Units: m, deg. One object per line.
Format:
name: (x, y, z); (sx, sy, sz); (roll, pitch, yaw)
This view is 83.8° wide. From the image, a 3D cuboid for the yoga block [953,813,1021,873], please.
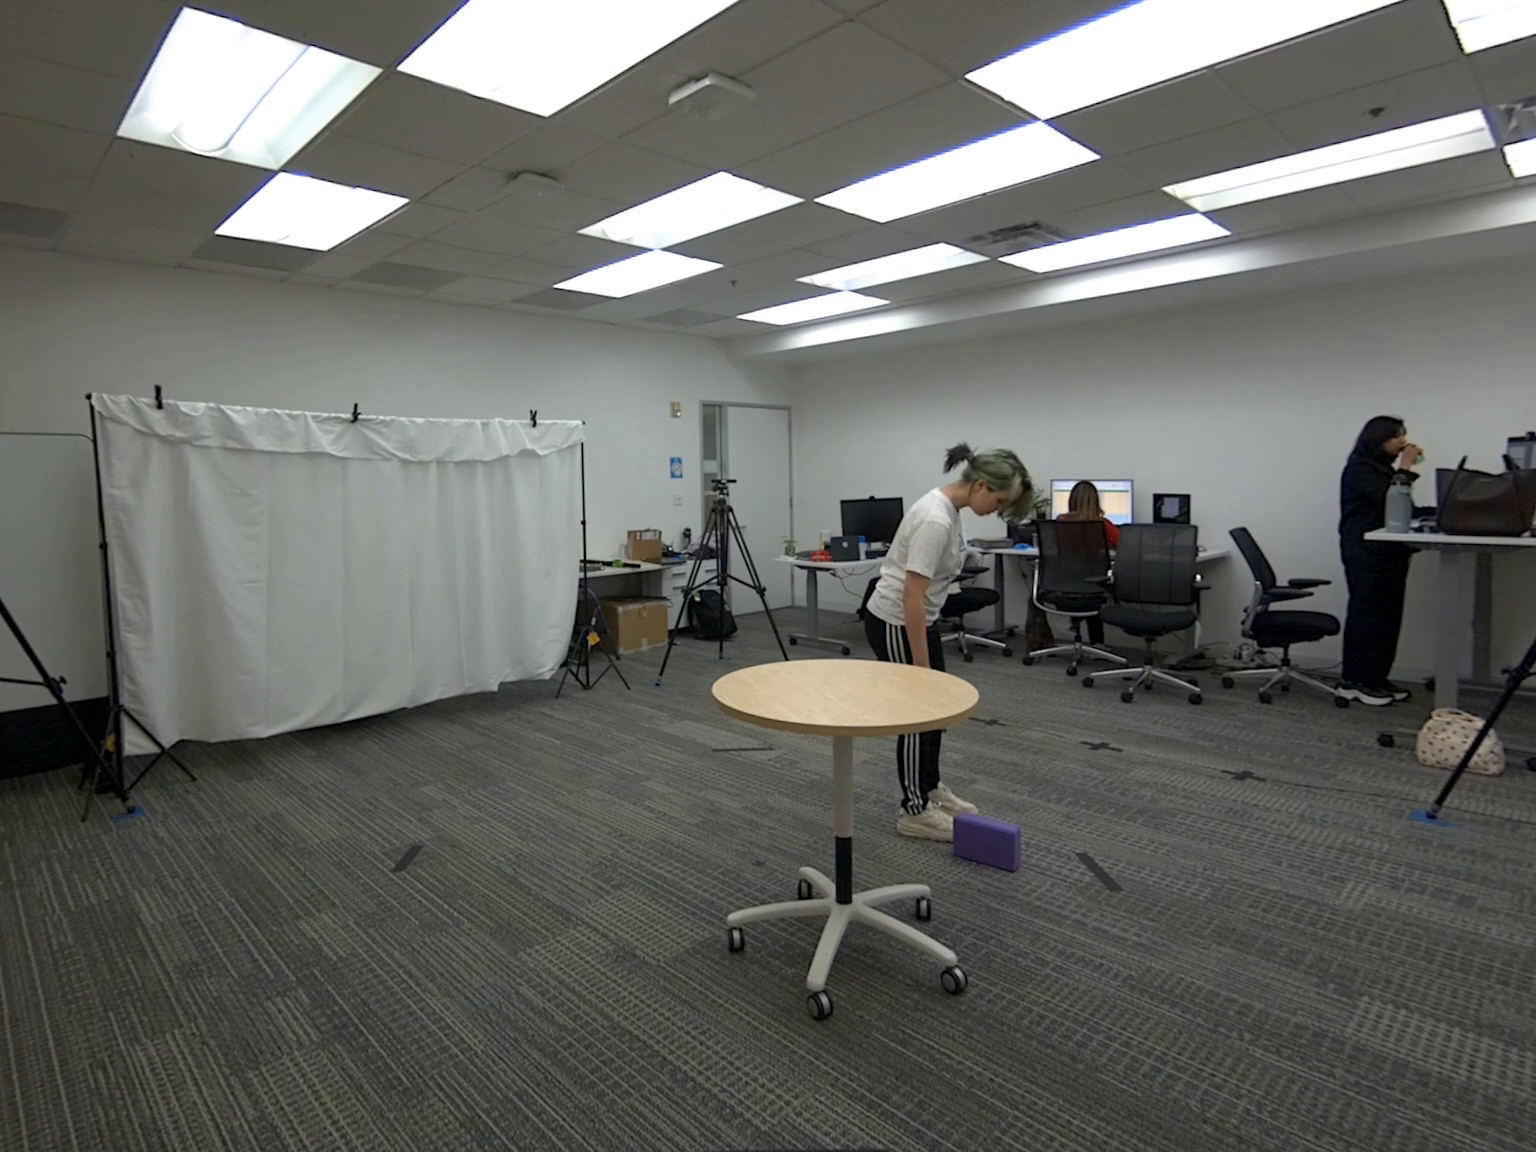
yoga block: (0.794, 0.960, 3.092); (0.236, 0.148, 0.074); (5, 8, 38)
